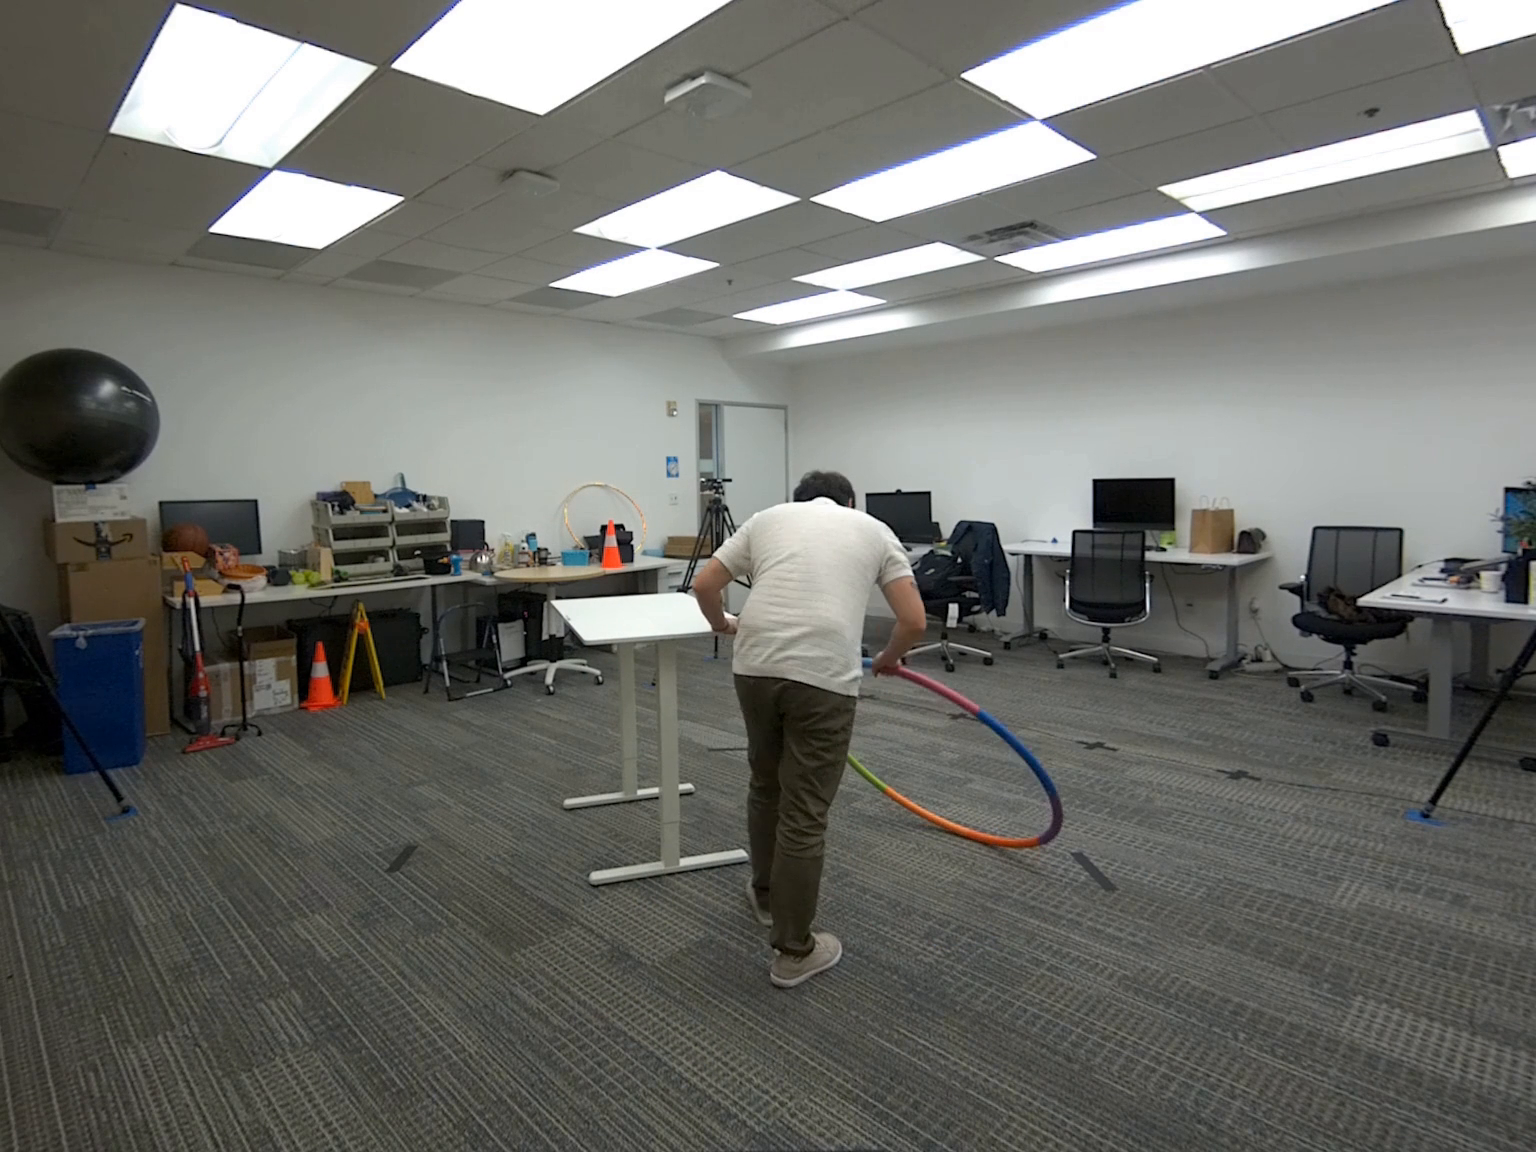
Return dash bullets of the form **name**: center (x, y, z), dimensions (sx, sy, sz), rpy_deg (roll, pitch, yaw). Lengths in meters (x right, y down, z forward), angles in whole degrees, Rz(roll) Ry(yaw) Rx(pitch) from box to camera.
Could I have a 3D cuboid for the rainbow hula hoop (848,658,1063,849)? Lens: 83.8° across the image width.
- **rainbow hula hoop**: center (0.566, 0.658, 3.085), dimensions (1.009, 0.948, 0.035), rpy_deg (5, 45, 48)
